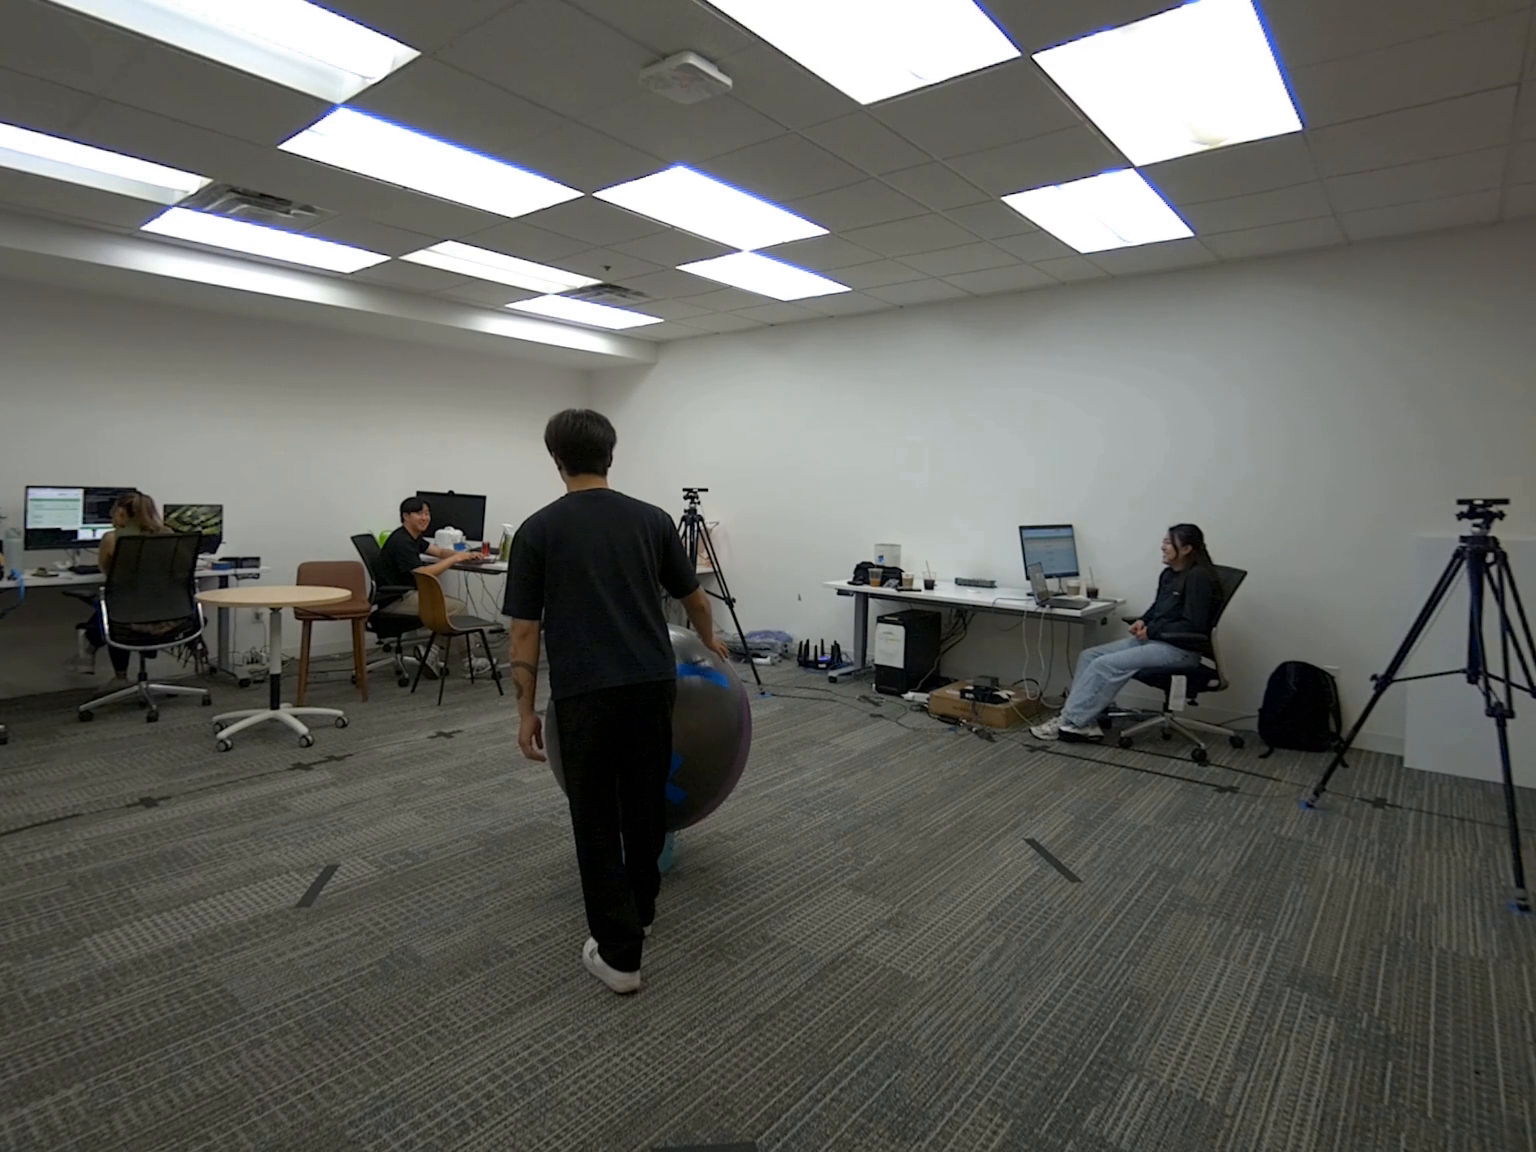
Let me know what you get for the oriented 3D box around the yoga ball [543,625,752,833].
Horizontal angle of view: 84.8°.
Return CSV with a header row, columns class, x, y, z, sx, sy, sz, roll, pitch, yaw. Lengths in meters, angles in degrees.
class,x,y,z,sx,sy,sz,roll,pitch,yaw
yoga ball,-0.443,0.552,3.135,0.757,0.756,0.762,1,4,-2
